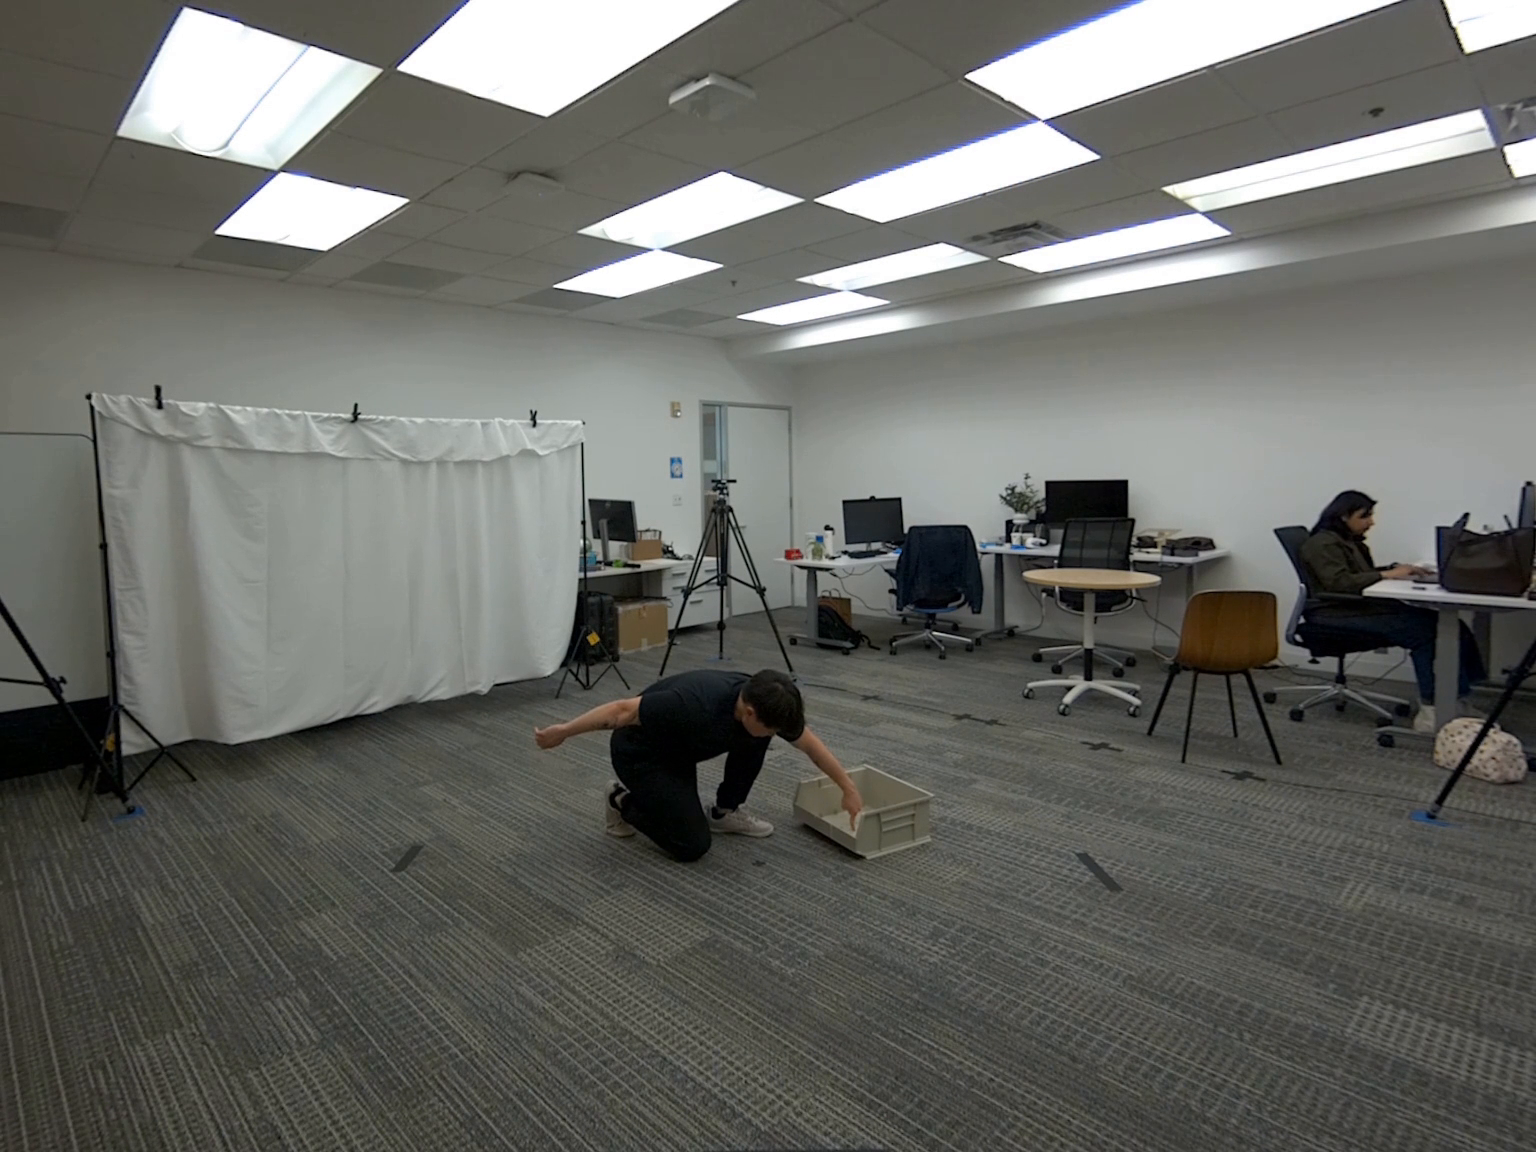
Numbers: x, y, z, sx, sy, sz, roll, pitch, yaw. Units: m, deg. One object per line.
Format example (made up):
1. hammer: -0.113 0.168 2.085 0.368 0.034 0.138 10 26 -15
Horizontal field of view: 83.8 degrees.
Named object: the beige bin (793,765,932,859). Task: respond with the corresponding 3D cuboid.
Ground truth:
1. beige bin: 0.364 0.917 3.357 0.368 0.188 0.434 -4 6 -31
